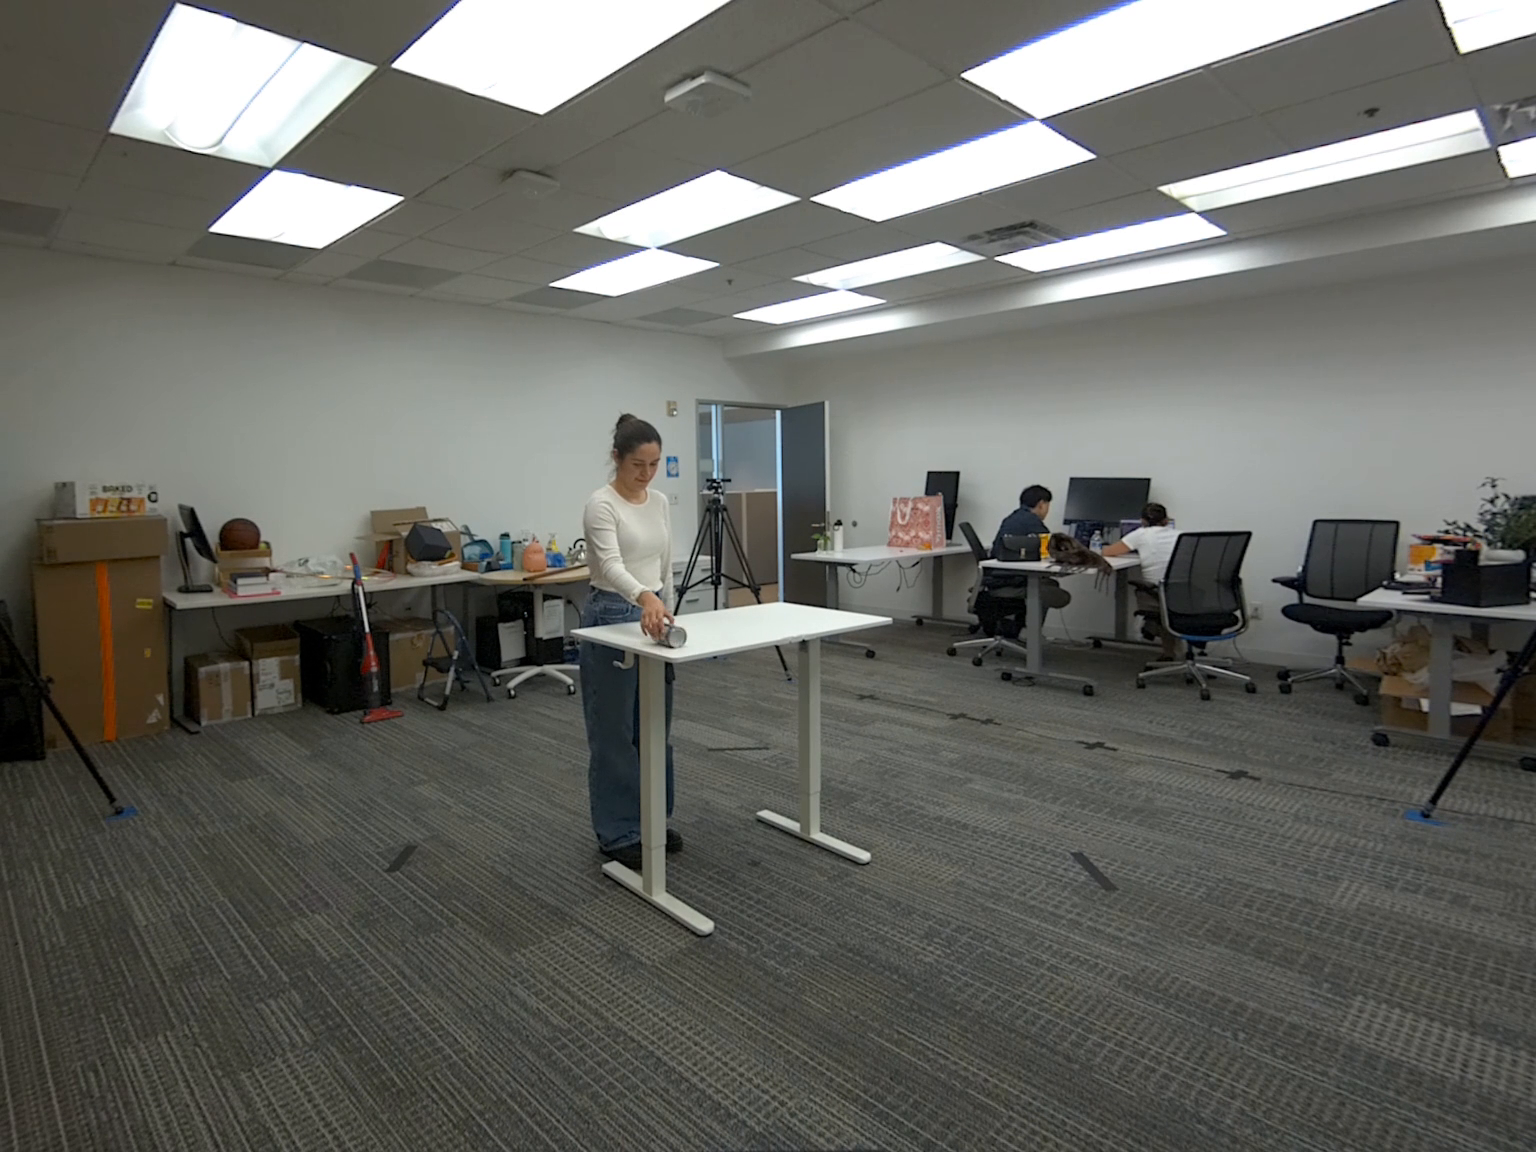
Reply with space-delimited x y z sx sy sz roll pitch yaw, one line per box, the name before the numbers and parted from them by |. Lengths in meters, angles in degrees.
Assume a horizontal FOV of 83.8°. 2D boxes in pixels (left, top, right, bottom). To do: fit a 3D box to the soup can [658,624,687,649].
soup can | -0.308 0.183 2.659 0.067 0.067 0.122 -1 3 -8
